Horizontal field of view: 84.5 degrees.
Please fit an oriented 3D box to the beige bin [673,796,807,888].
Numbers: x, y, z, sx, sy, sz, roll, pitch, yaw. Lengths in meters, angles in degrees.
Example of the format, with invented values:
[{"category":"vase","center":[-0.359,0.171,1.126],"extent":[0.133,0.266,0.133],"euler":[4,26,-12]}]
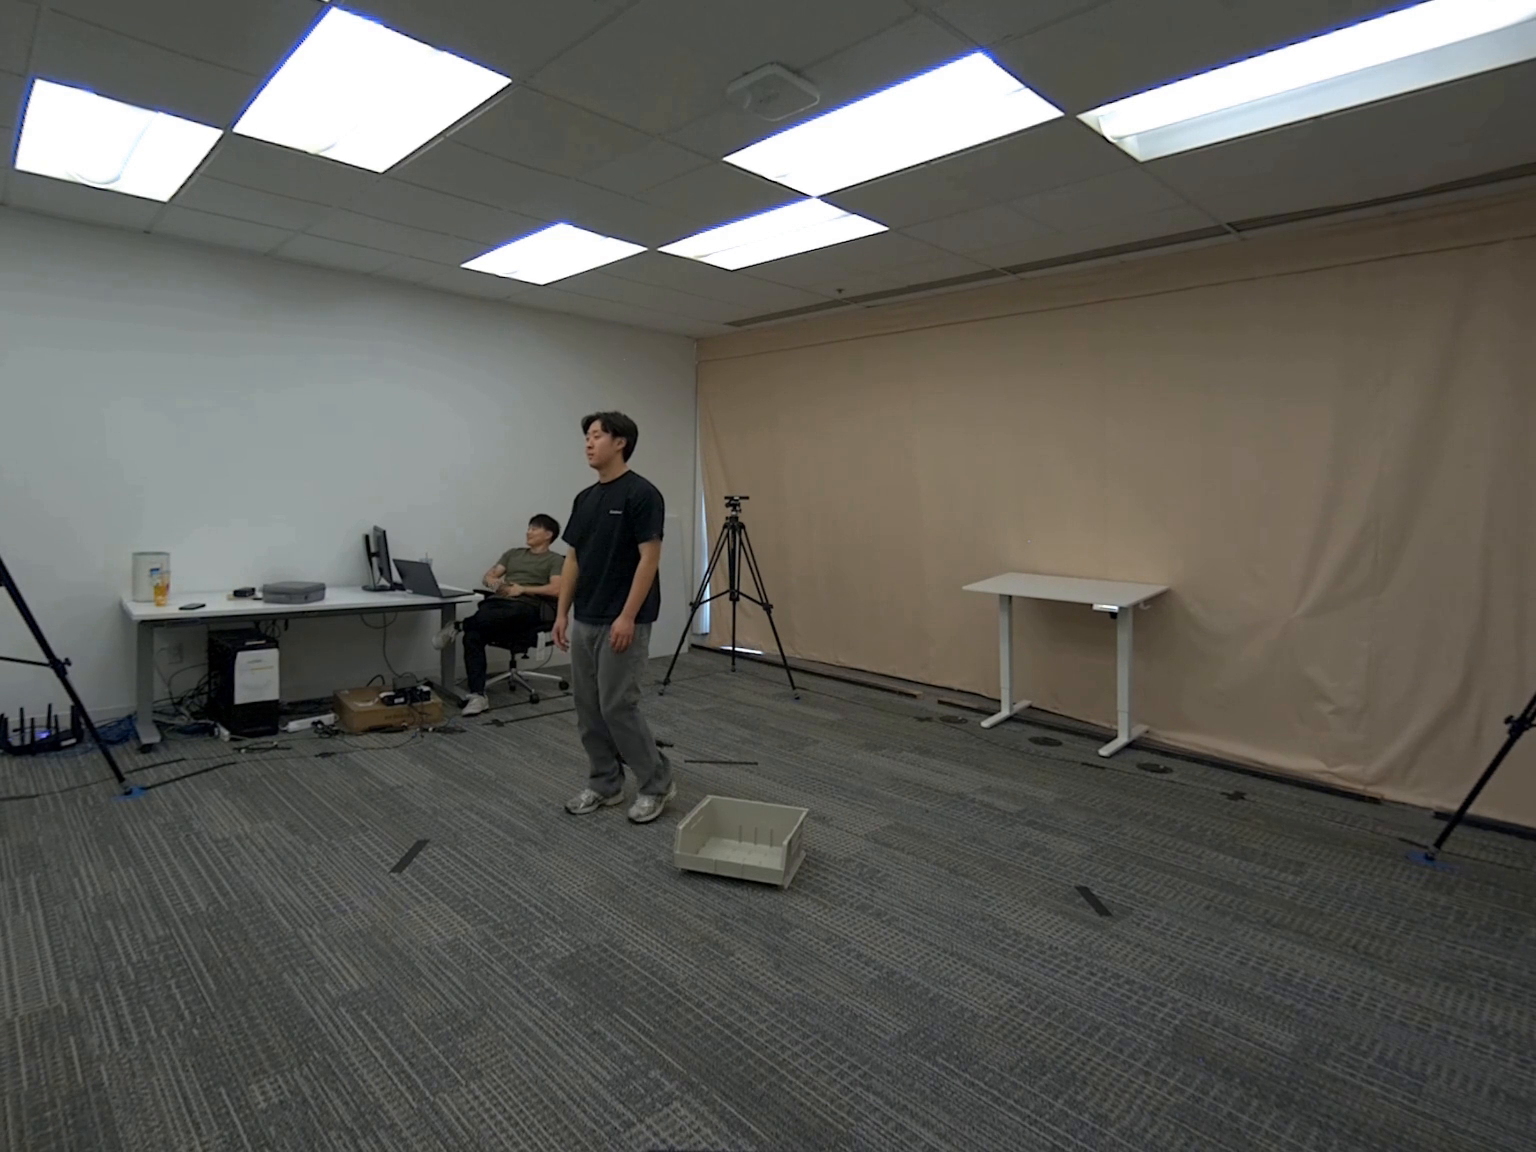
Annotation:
[{"category":"beige bin","center":[-0.097,1.009,3.188],"extent":[0.428,0.188,0.373],"euler":[2,4,16]}]
